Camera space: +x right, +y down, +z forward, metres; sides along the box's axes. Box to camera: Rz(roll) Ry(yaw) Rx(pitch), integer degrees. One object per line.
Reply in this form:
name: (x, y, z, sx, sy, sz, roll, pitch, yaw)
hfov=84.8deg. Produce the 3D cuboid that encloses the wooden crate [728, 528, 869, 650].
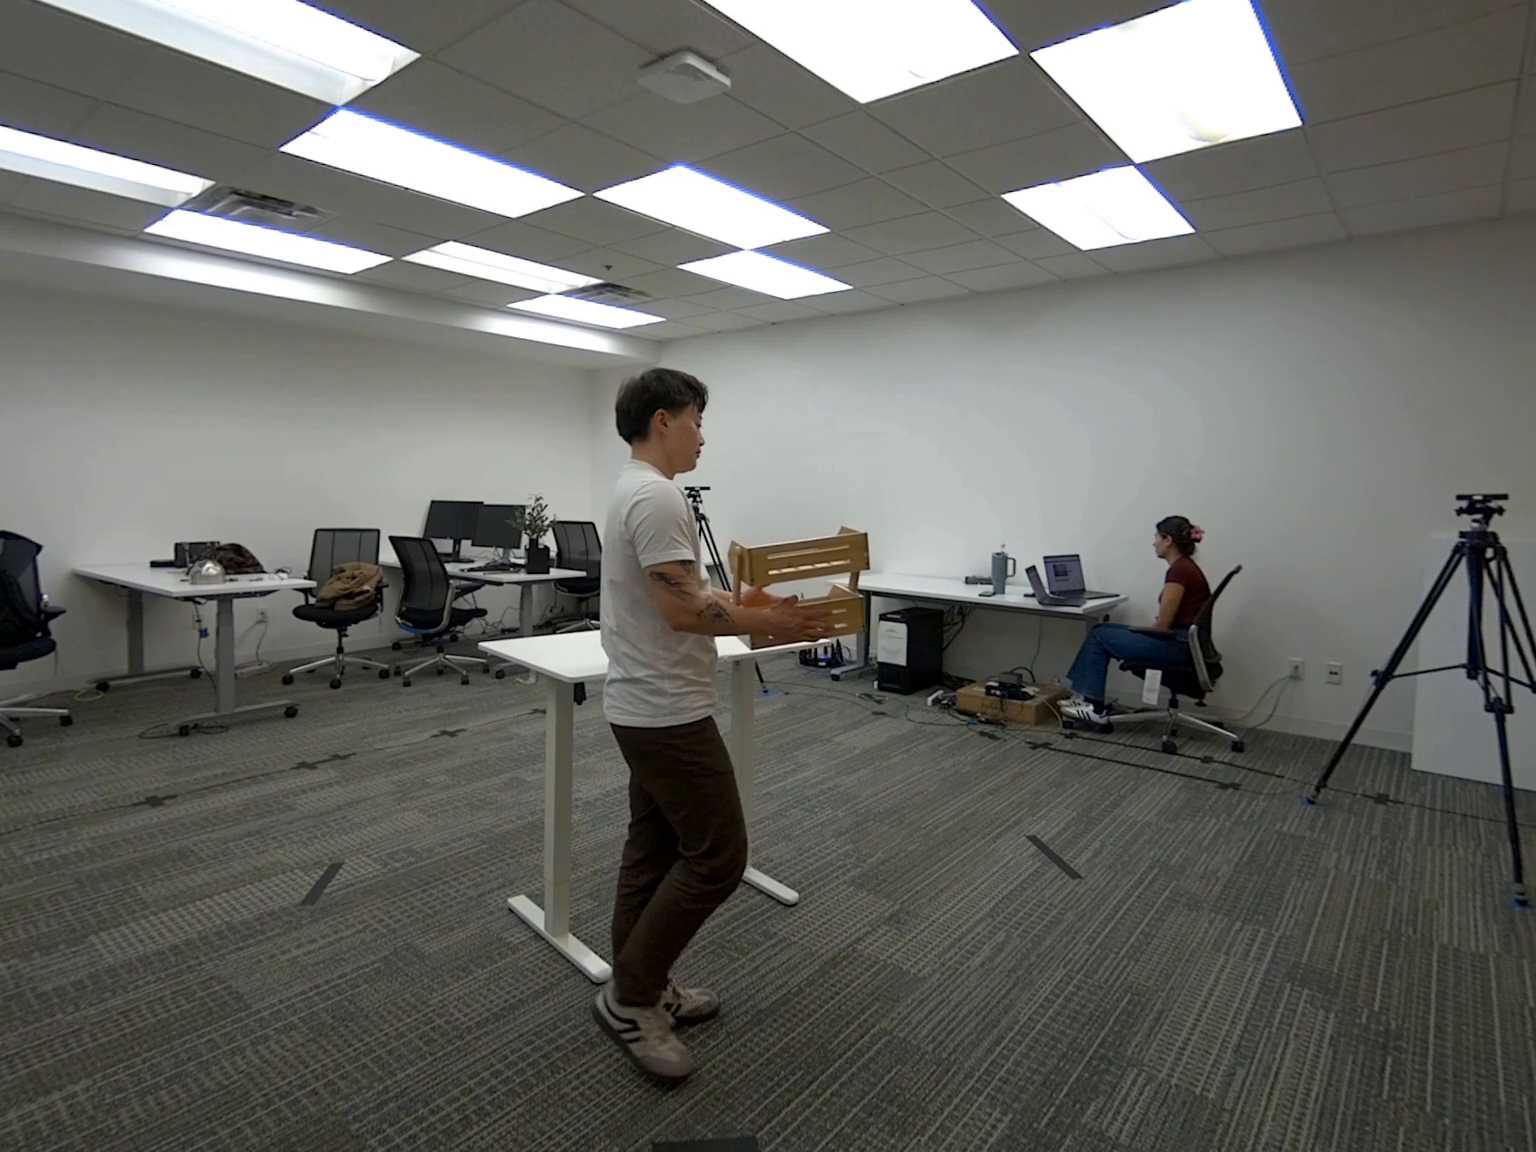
wooden crate: (0.059, 0.012, 2.149, 0.320, 0.270, 0.309, -8, 11, -14)
